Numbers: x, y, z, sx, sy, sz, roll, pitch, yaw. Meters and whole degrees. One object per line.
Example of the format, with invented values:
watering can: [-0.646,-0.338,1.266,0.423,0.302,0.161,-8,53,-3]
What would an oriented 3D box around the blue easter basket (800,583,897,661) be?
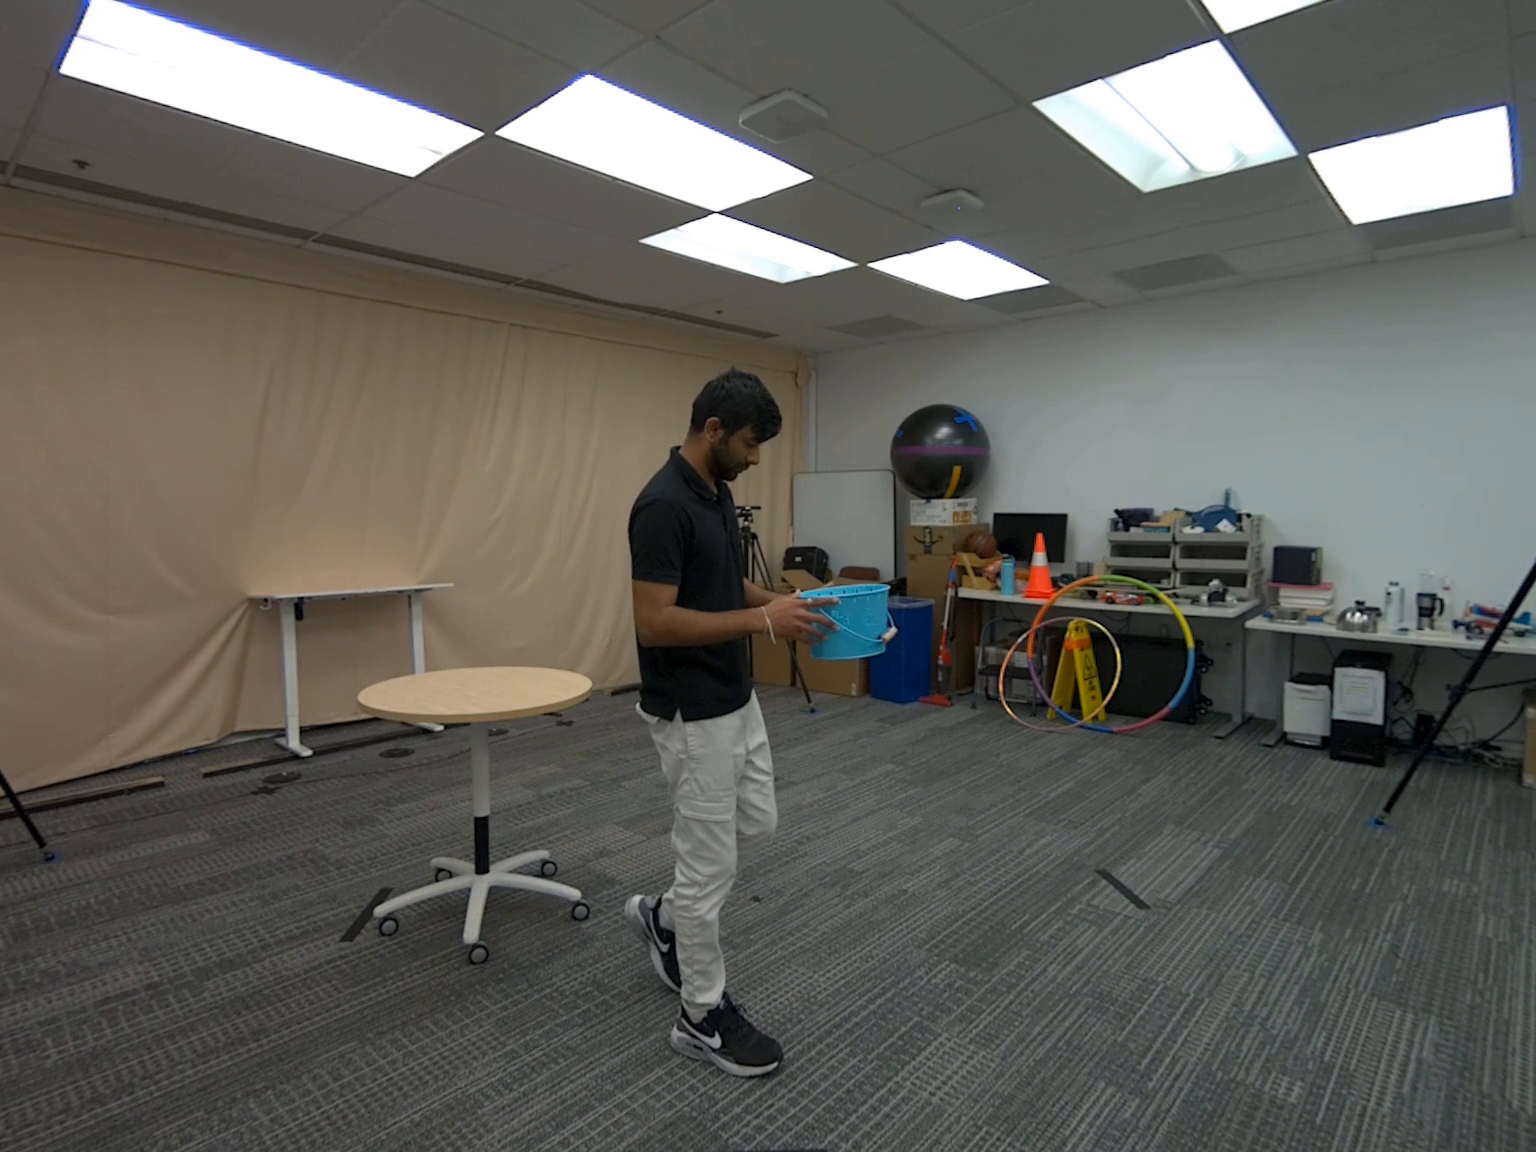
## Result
blue easter basket: [0.165,0.122,2.015,0.243,0.155,0.244,-6,3,-2]
